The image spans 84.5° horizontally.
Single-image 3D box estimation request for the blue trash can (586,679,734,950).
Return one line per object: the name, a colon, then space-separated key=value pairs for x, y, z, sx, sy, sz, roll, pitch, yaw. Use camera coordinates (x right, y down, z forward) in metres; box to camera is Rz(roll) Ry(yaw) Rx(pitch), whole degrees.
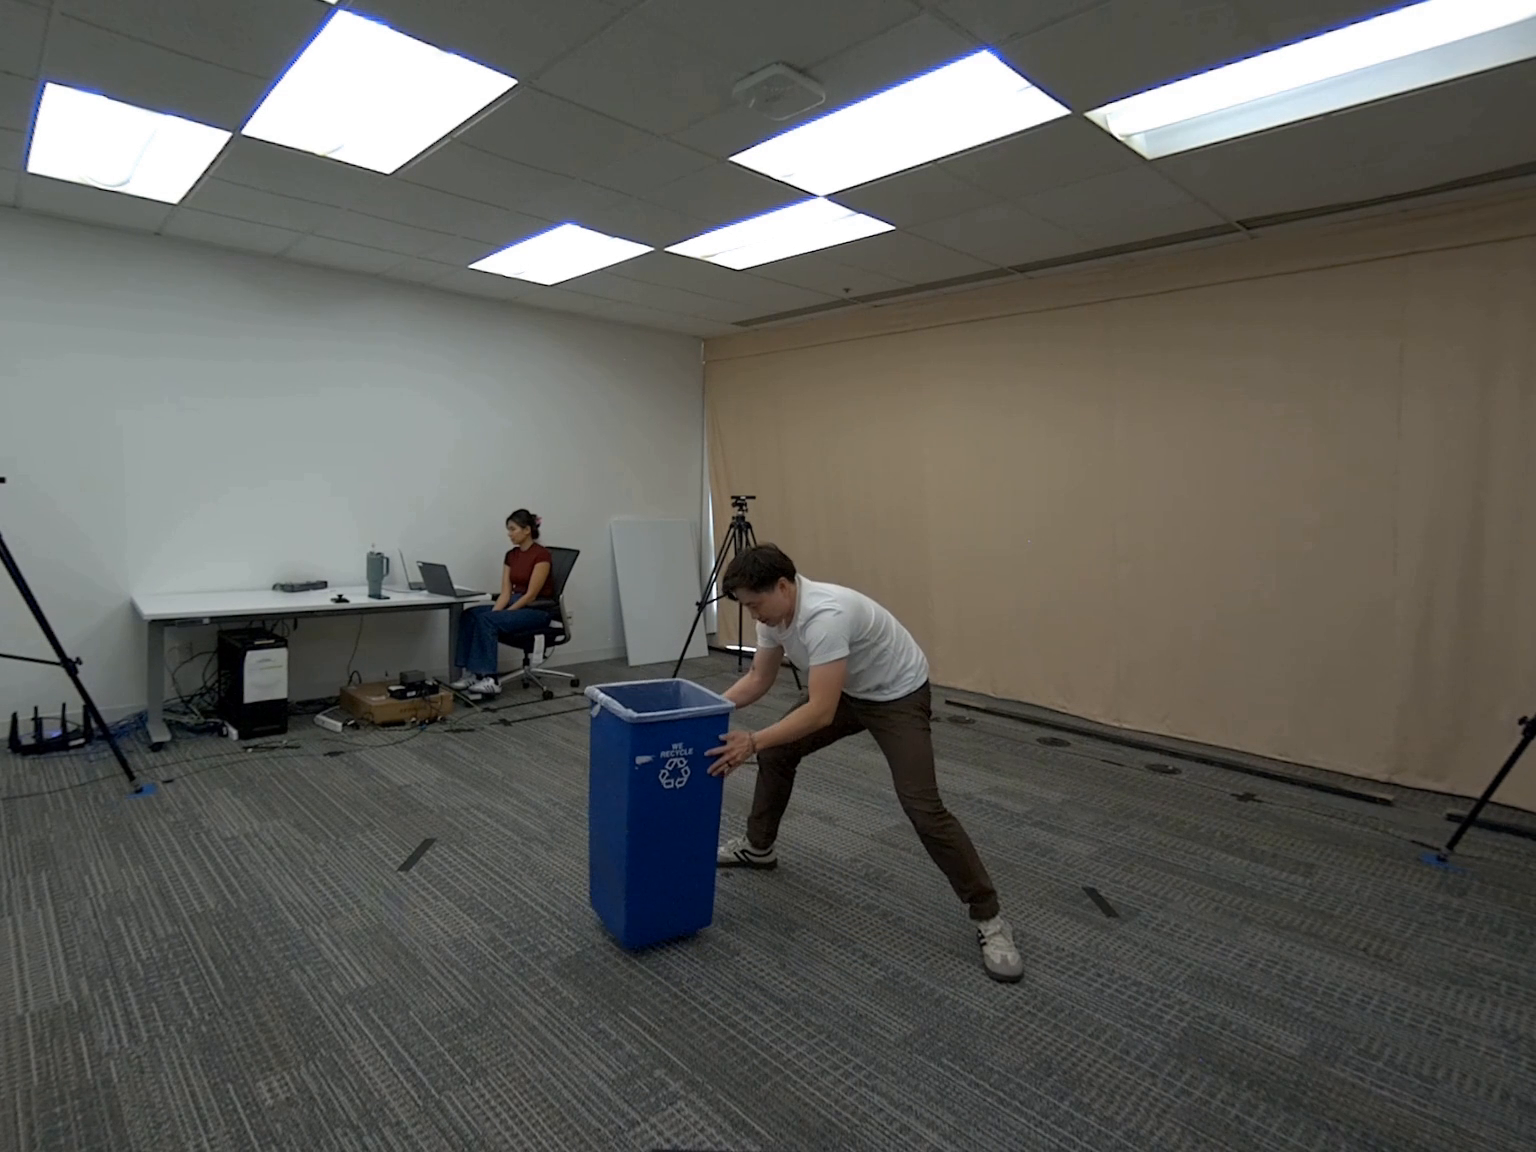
blue trash can: x=-0.365 y=0.745 z=2.649 sx=0.370 sy=0.711 sz=0.383 roll=0 pitch=5 yaw=-34
